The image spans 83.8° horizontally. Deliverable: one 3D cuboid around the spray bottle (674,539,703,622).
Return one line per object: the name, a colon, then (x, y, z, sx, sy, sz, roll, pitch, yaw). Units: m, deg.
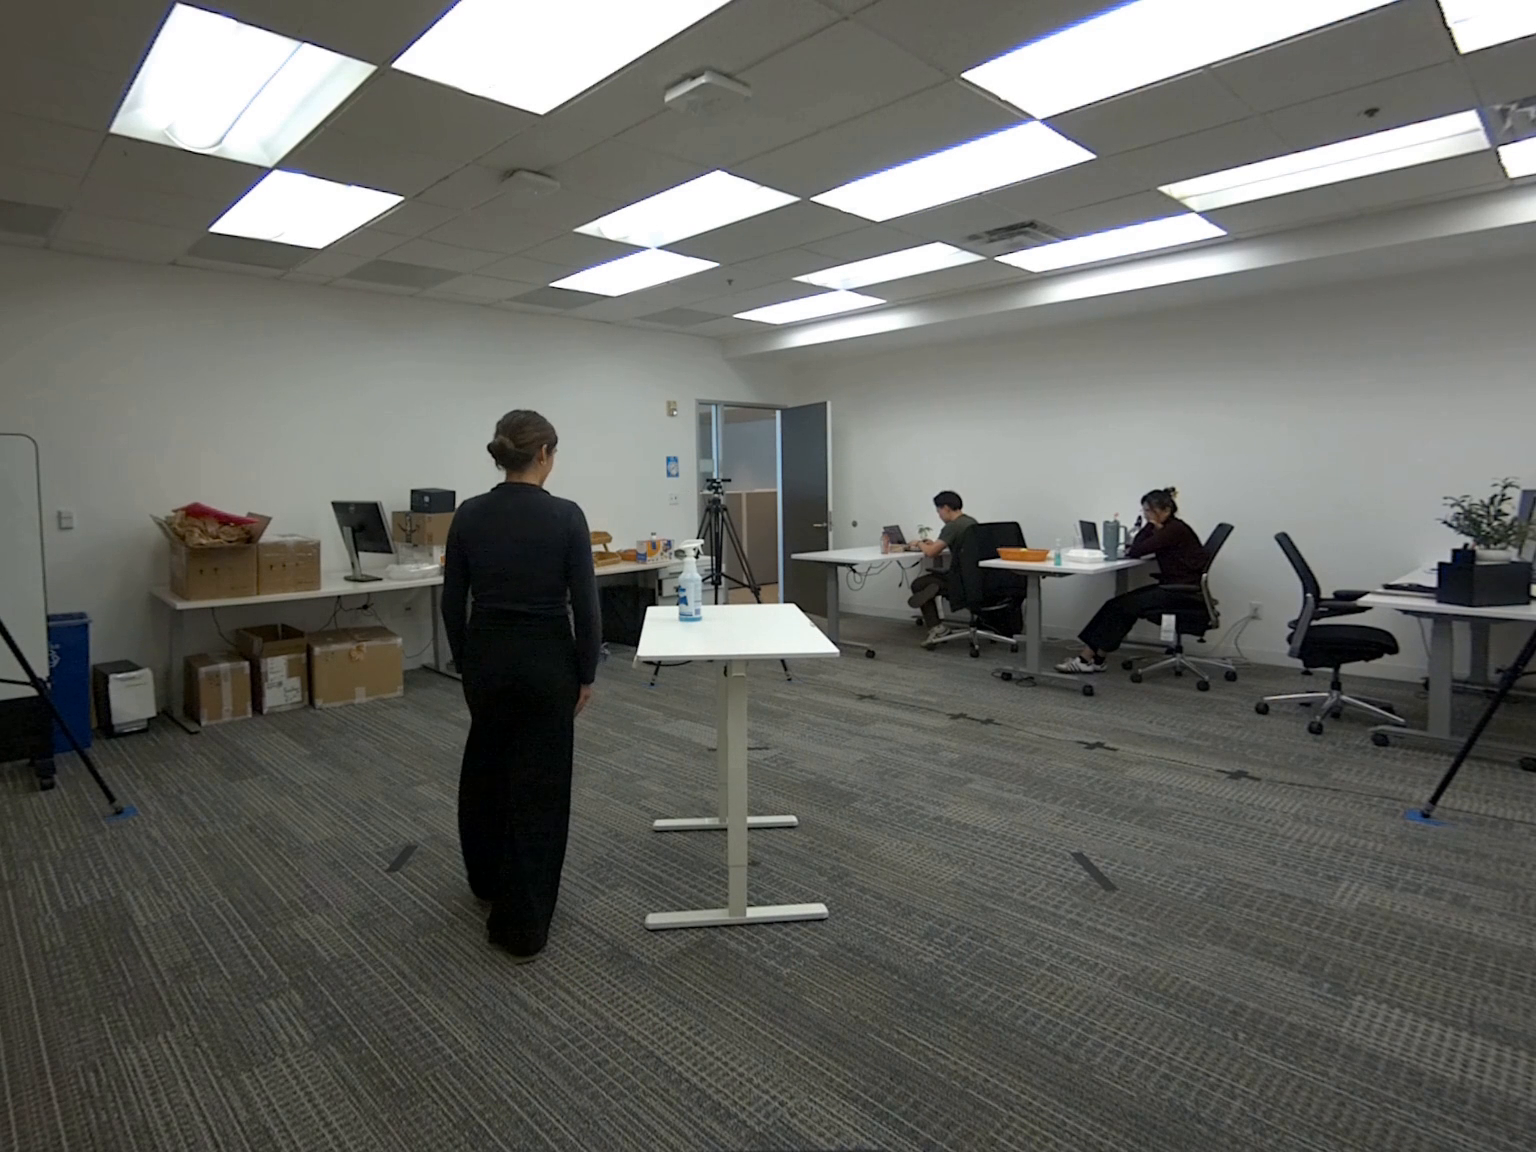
spray bottle: (-0.283, 0.017, 3.138, 0.092, 0.297, 0.085, 3, 2, 18)
